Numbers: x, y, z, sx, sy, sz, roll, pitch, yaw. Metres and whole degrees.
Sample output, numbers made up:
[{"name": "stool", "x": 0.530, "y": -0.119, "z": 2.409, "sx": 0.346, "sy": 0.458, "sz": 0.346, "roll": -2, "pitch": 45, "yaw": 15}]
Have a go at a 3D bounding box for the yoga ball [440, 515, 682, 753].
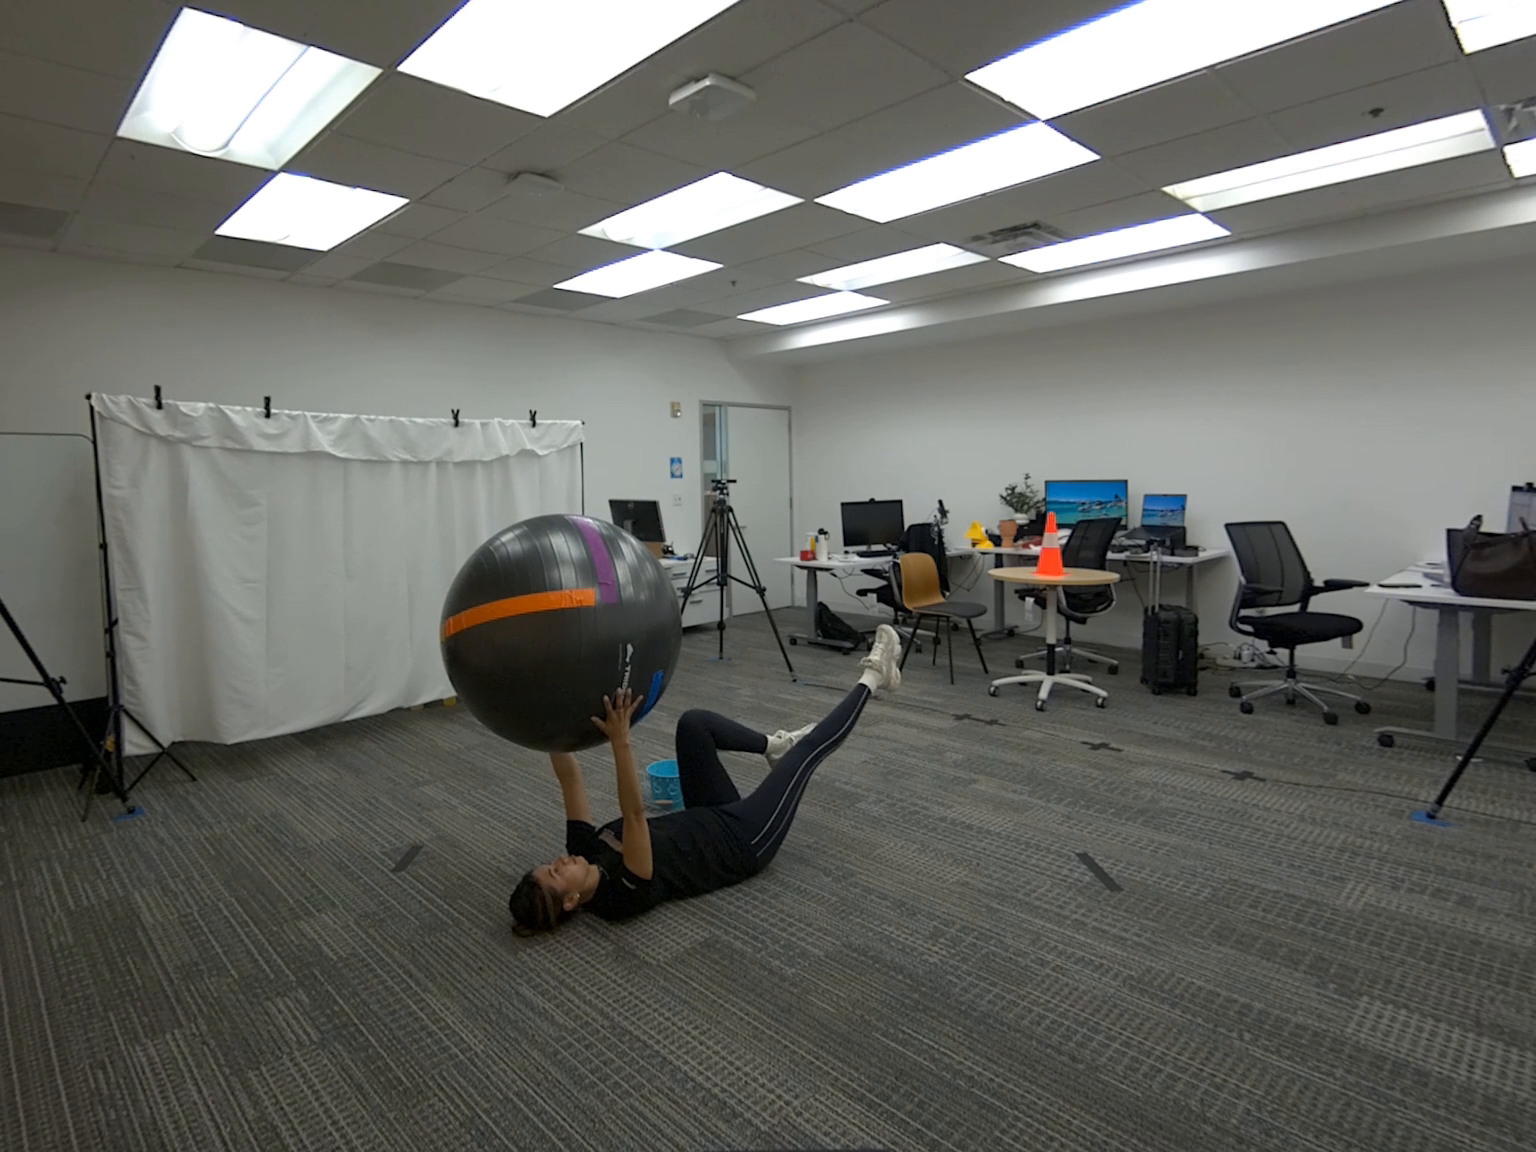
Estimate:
[{"name": "yoga ball", "x": -0.654, "y": 0.180, "z": 2.746, "sx": 0.757, "sy": 0.757, "sz": 0.759, "roll": 0, "pitch": 1, "yaw": -2}]
